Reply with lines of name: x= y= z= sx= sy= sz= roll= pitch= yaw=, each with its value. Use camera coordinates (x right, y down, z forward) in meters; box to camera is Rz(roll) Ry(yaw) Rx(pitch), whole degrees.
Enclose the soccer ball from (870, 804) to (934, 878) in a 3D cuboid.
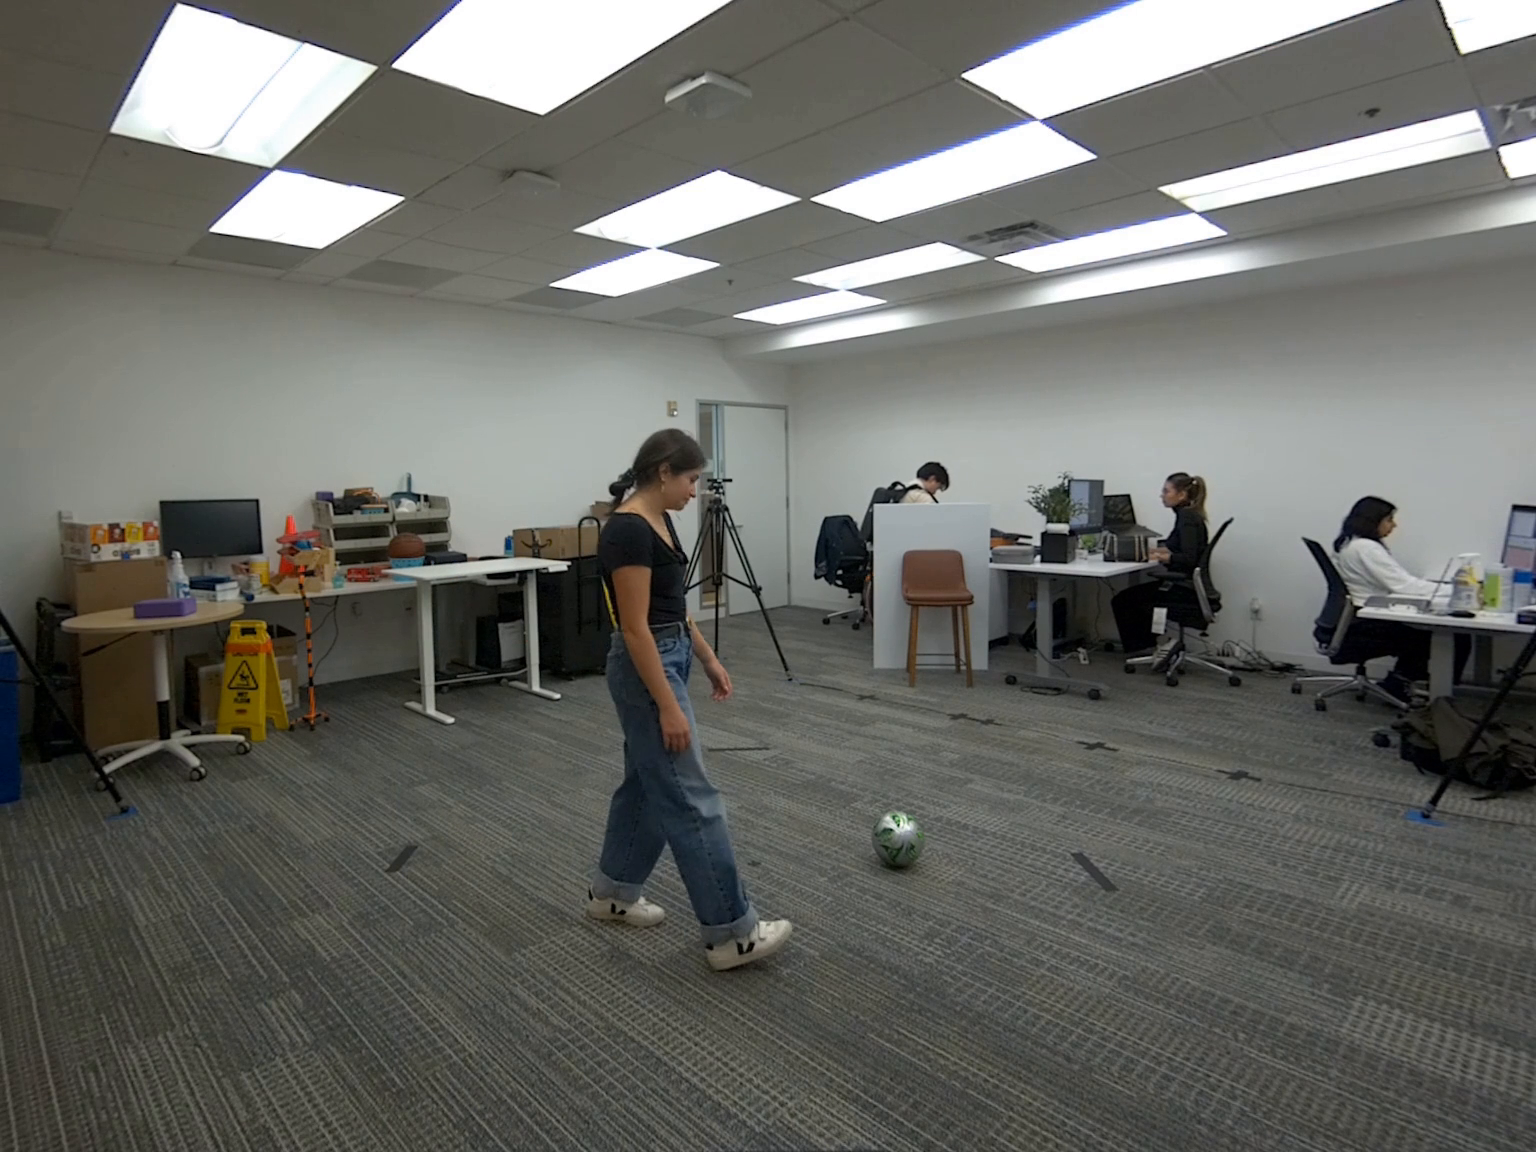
soccer ball: x=0.477 y=0.948 z=3.083 sx=0.187 sy=0.187 sz=0.188 roll=-1 pitch=5 yaw=-2
